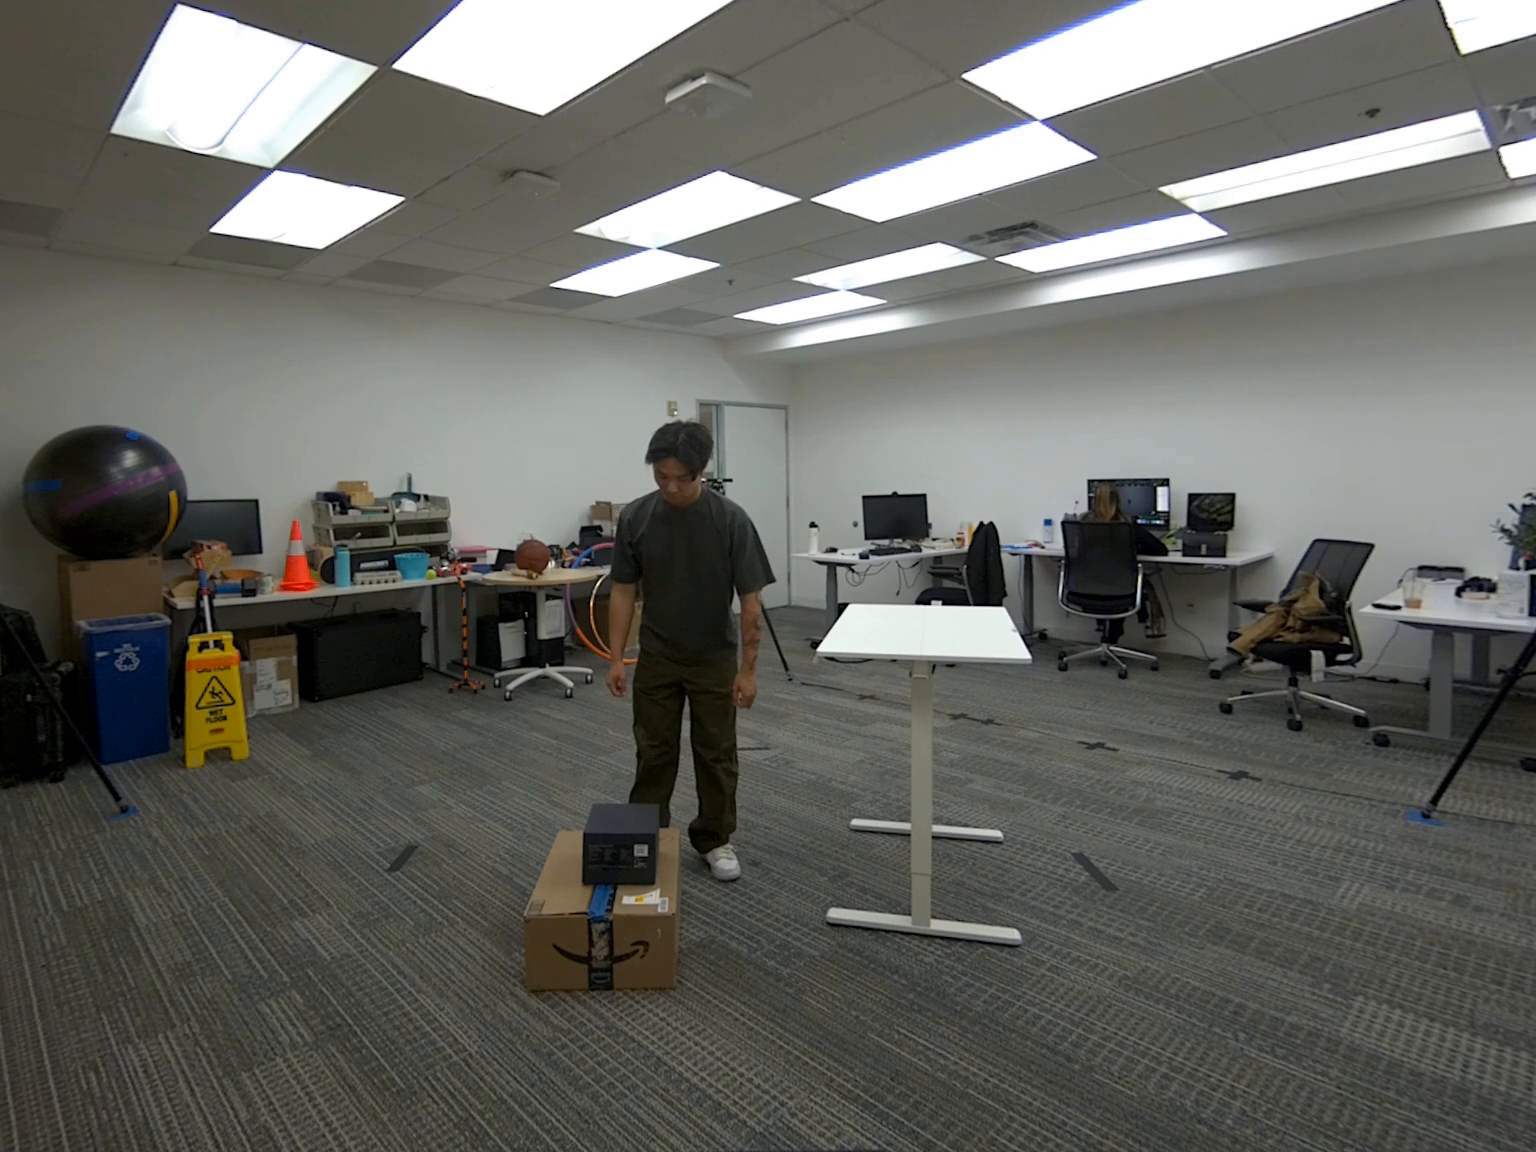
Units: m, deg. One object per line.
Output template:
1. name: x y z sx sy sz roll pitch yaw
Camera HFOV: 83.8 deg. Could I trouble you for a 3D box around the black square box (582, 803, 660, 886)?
1. black square box: -0.445 0.813 2.609 0.216 0.155 0.230 0 7 -4
